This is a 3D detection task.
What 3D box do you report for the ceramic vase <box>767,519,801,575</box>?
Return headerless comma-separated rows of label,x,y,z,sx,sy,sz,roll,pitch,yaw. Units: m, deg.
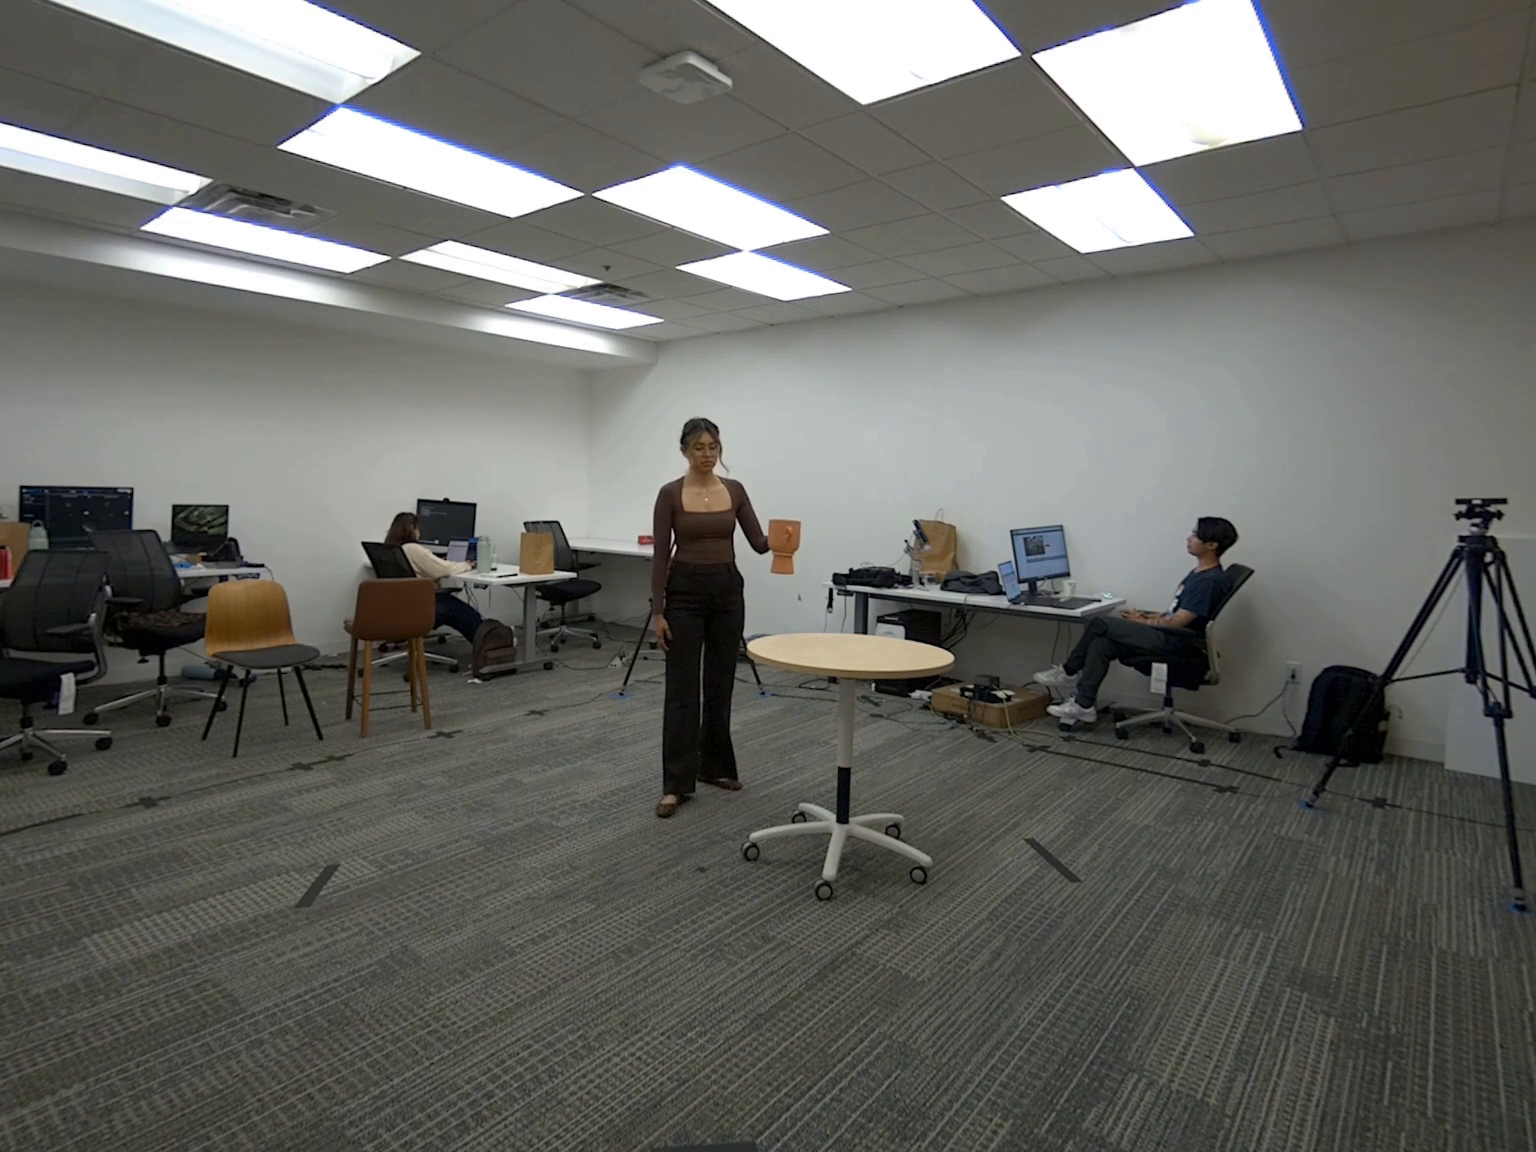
ceramic vase,0.054,-0.128,3.530,0.138,0.219,0.155,4,4,25
